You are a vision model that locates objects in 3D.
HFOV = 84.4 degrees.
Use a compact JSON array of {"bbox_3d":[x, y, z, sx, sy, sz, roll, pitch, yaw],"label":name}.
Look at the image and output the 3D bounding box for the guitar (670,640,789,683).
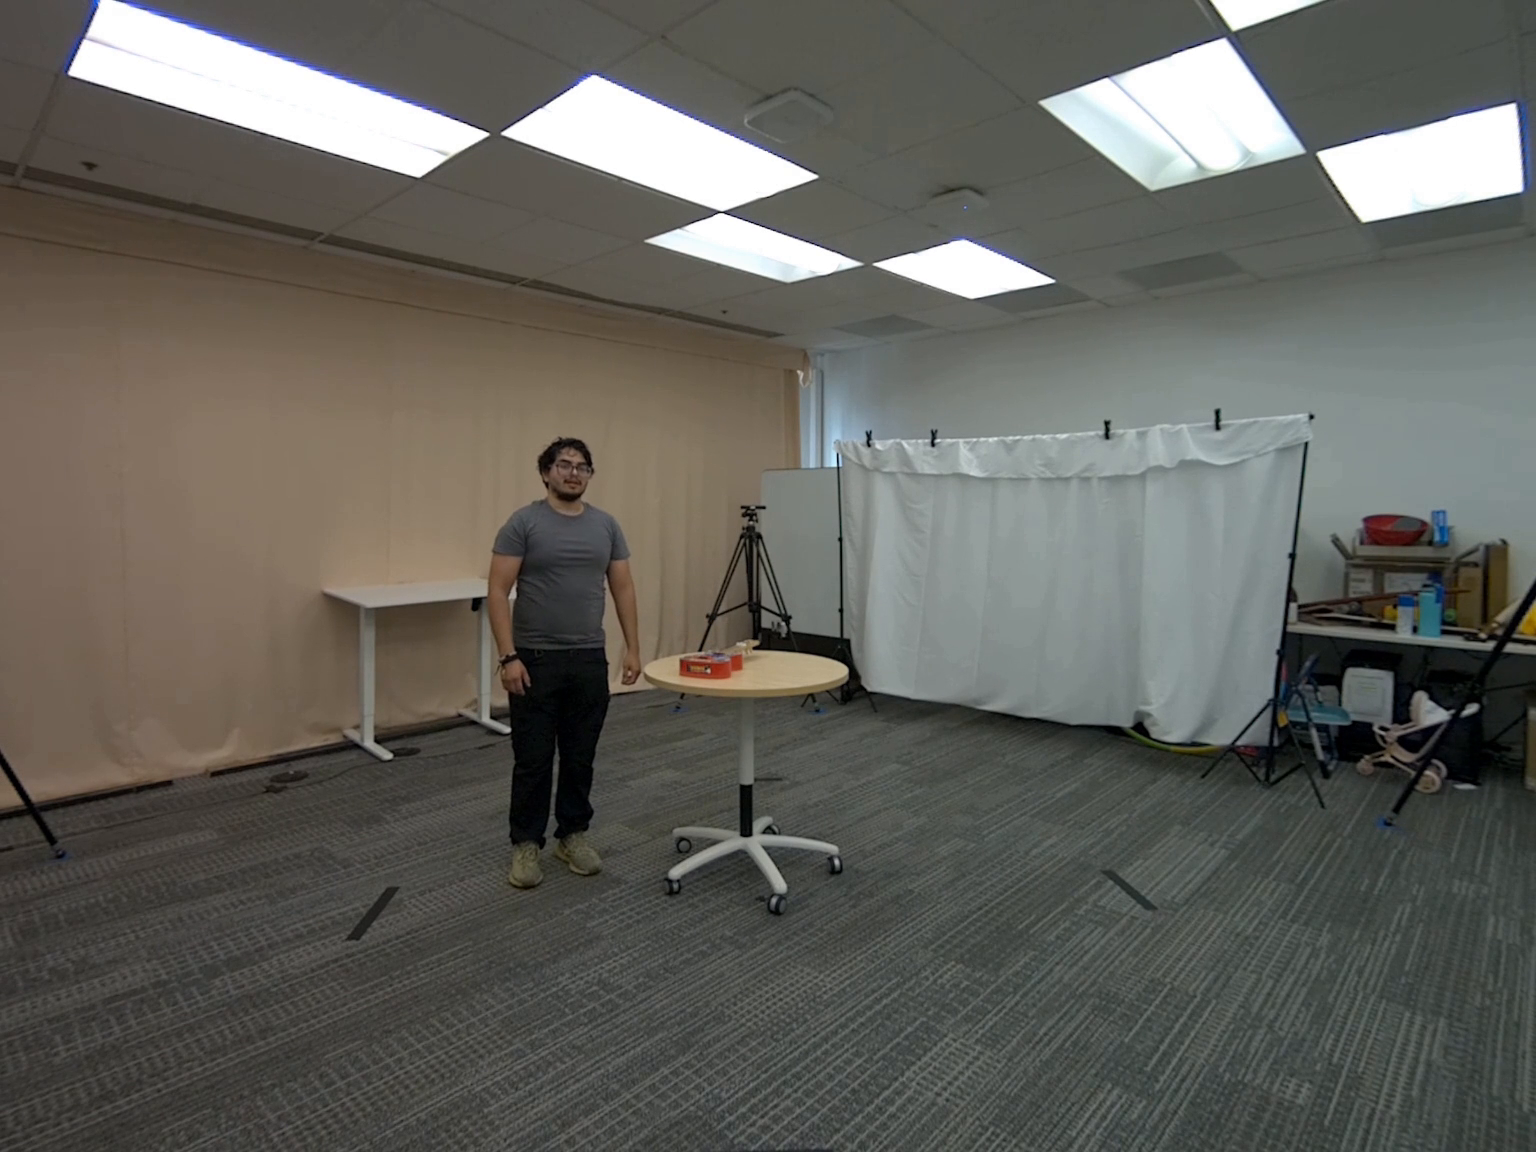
[{"bbox_3d":[-0.136,0.310,3.166,0.199,0.070,0.484,0,4,33],"label":"guitar"}]
